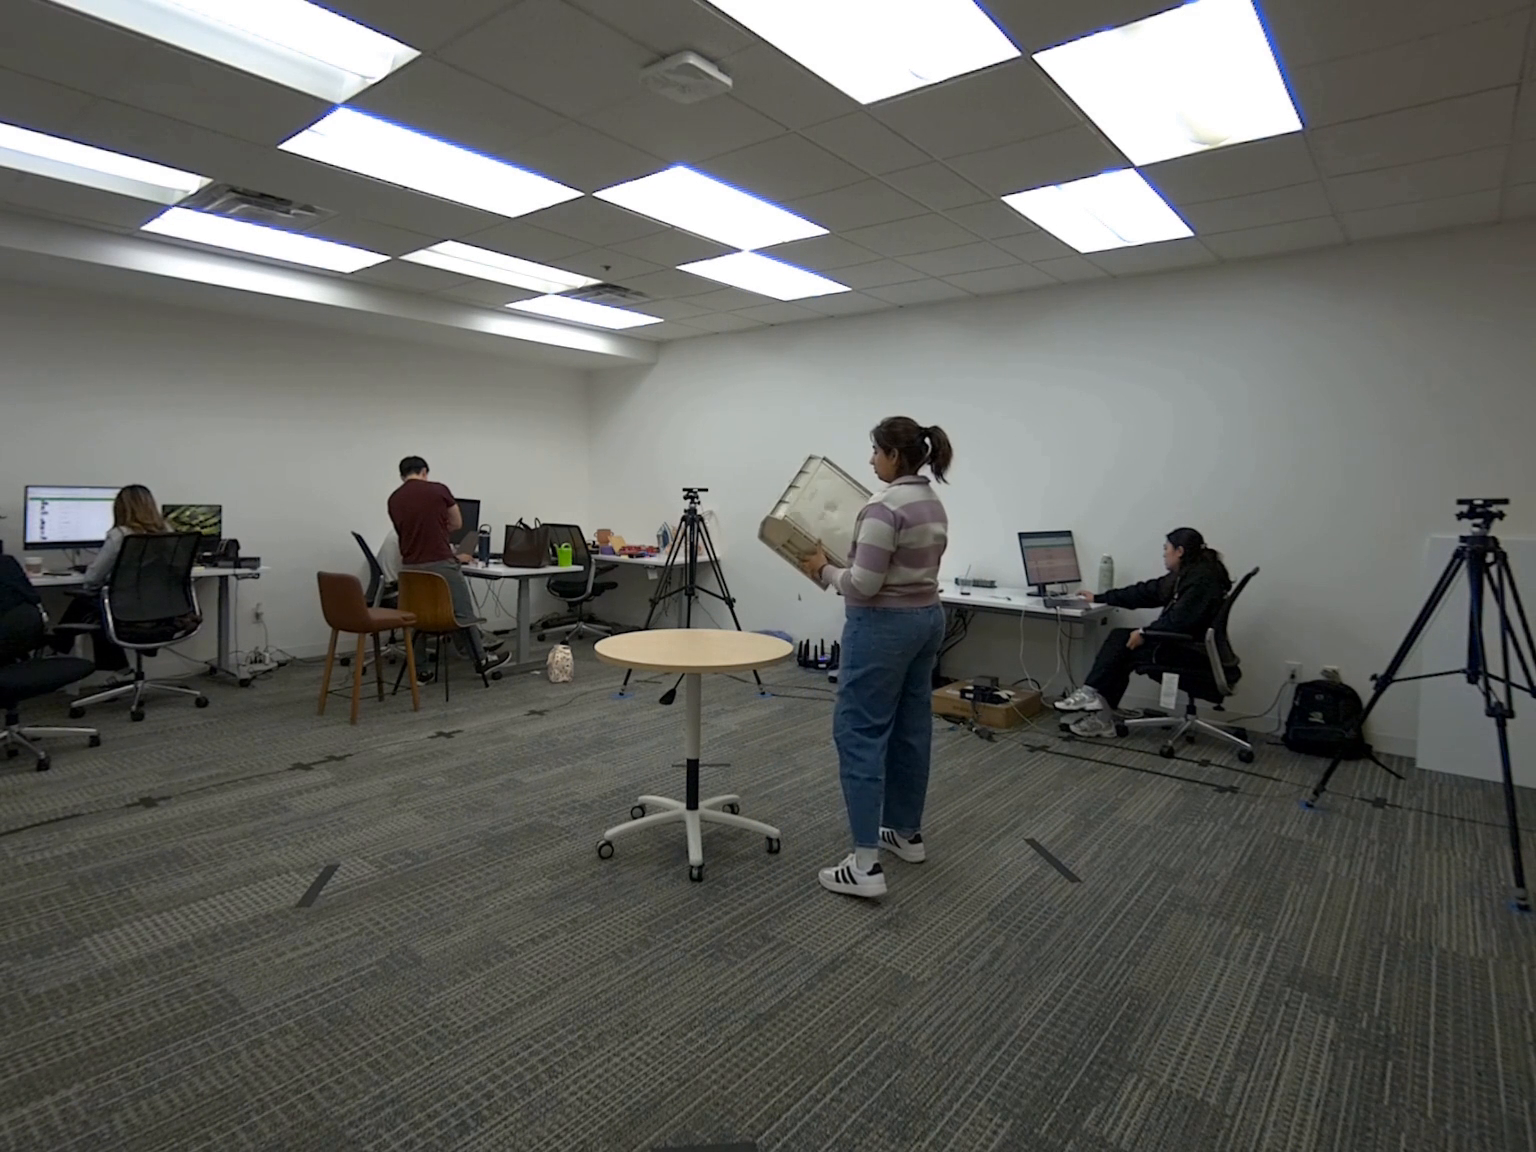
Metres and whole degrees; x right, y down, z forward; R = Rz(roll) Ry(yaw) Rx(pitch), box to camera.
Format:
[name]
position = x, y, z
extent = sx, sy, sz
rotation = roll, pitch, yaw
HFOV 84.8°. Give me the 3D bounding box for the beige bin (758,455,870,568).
[beige bin]
position = 0.202, -0.233, 3.438
extent = 0.376, 0.424, 0.188
rotation = 37, -37, -3
